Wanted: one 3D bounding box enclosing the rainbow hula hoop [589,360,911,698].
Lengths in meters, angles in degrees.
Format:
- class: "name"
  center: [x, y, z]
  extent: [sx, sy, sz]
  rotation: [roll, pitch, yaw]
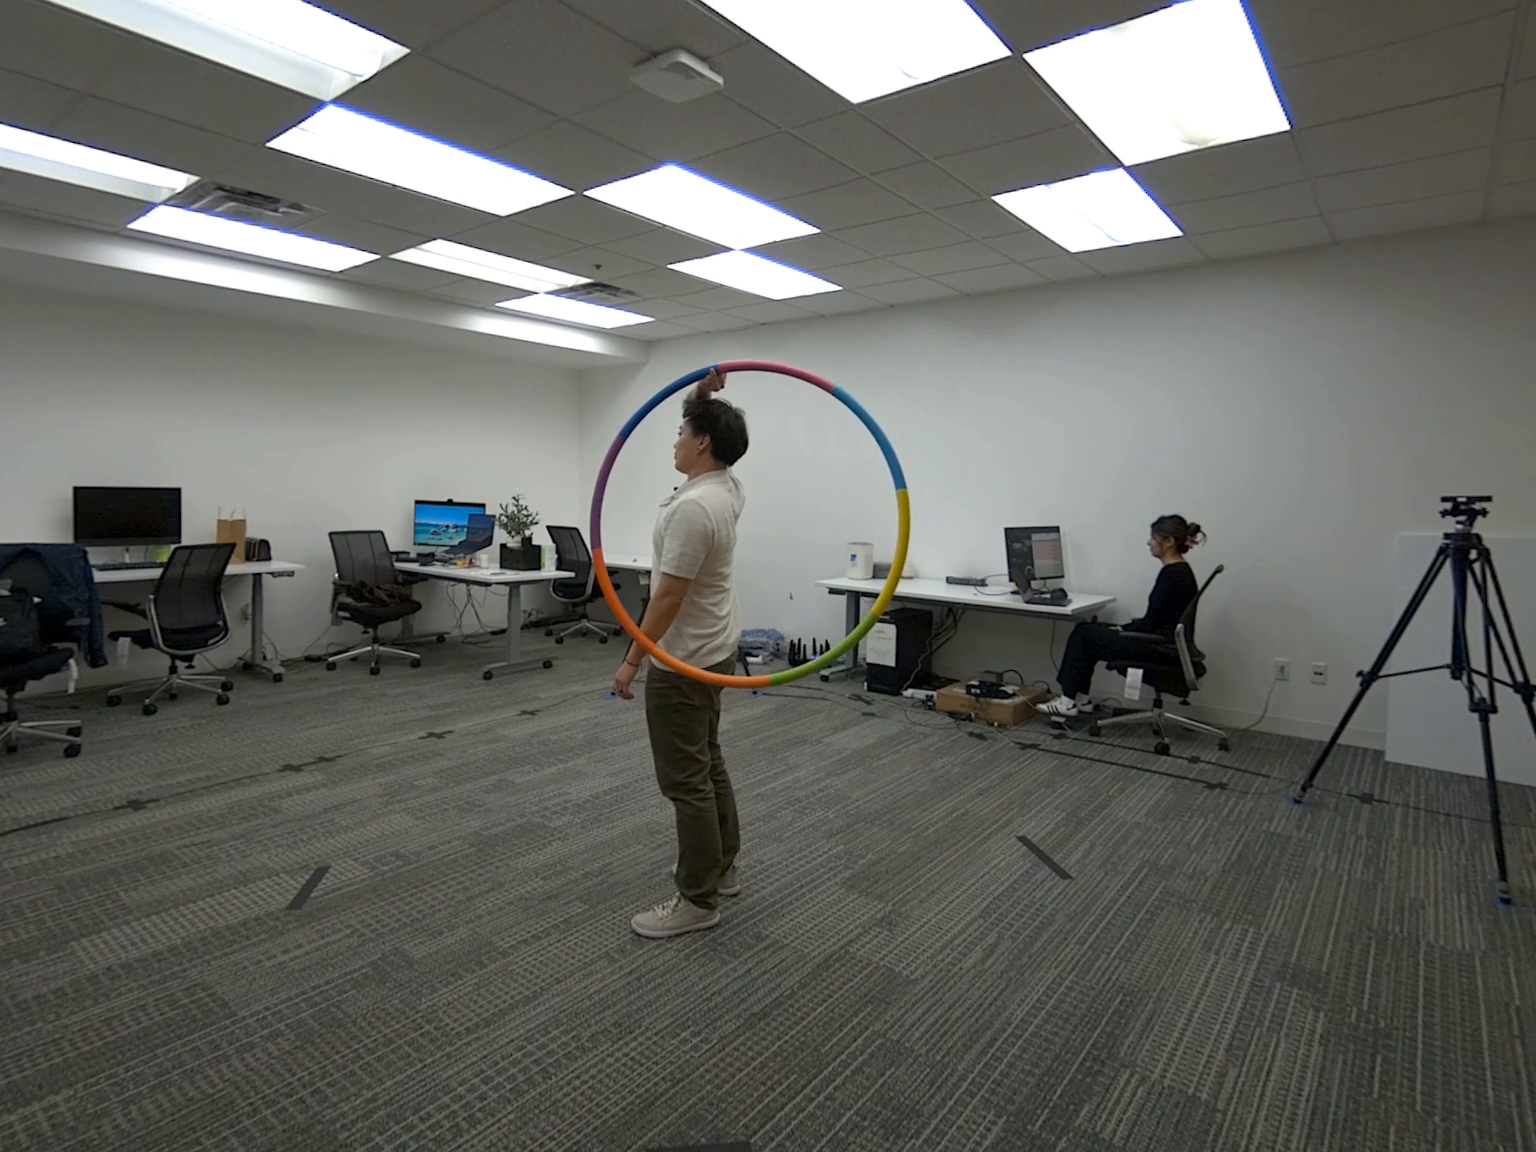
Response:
- class: "rainbow hula hoop"
  center: [-0.088, -0.171, 2.563]
  extent: [0.992, 0.984, 0.035]
  rotation: [1, -6, 13]
